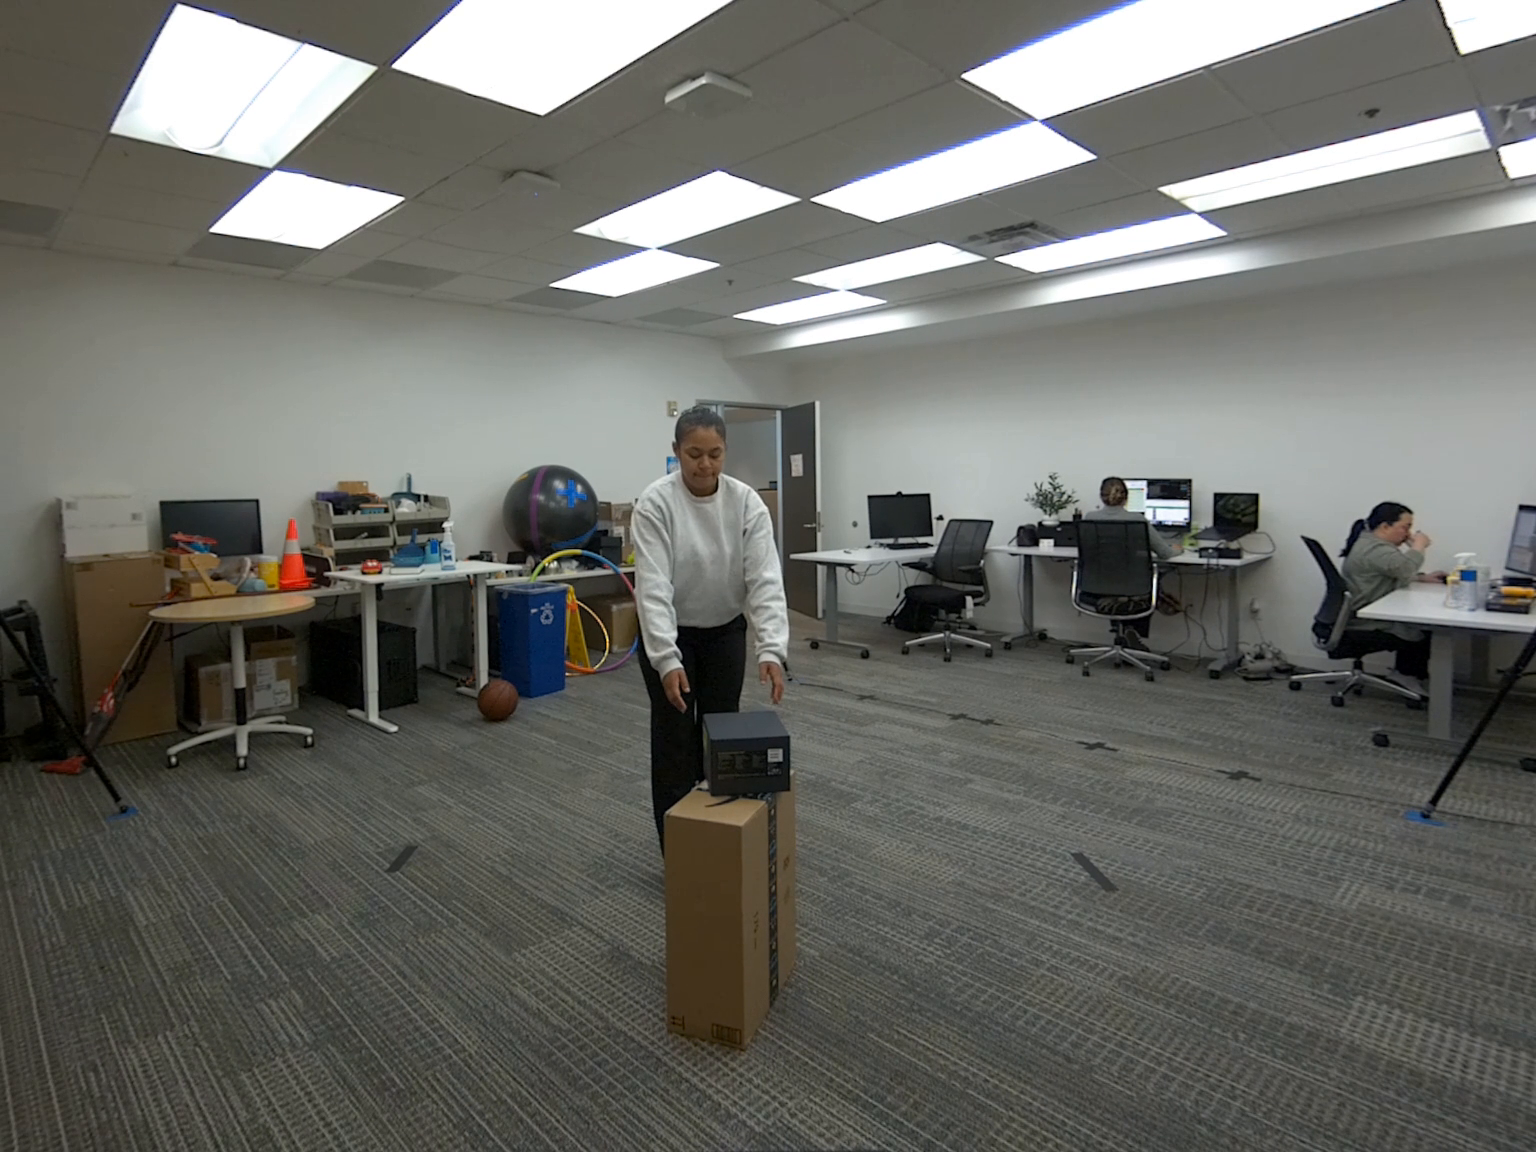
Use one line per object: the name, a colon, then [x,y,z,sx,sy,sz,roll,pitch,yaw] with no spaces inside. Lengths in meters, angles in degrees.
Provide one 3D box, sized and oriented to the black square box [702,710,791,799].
black square box: [-0.069,0.488,2.367,0.215,0.155,0.231,-2,7,-8]
